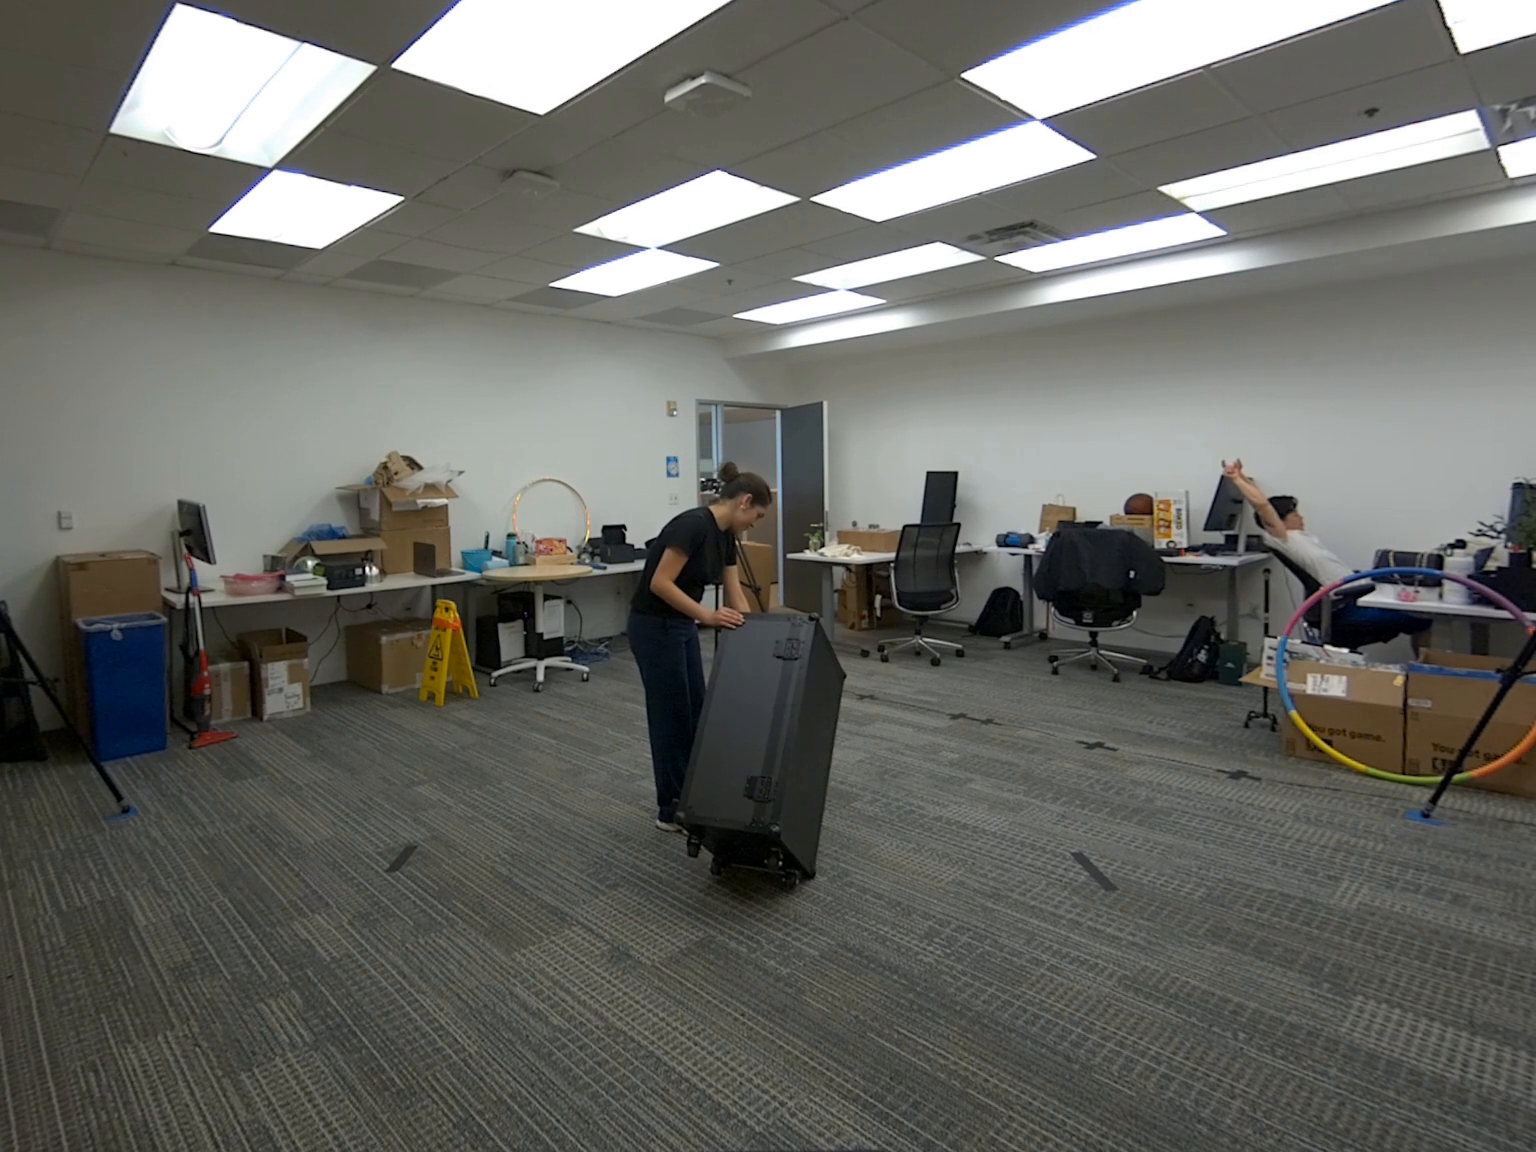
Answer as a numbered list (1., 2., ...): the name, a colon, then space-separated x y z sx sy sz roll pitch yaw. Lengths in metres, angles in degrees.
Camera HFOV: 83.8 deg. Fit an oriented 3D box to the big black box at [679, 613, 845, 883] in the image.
1. big black box: -0.015 0.618 3.070 0.404 0.877 0.502 -1 -34 21
